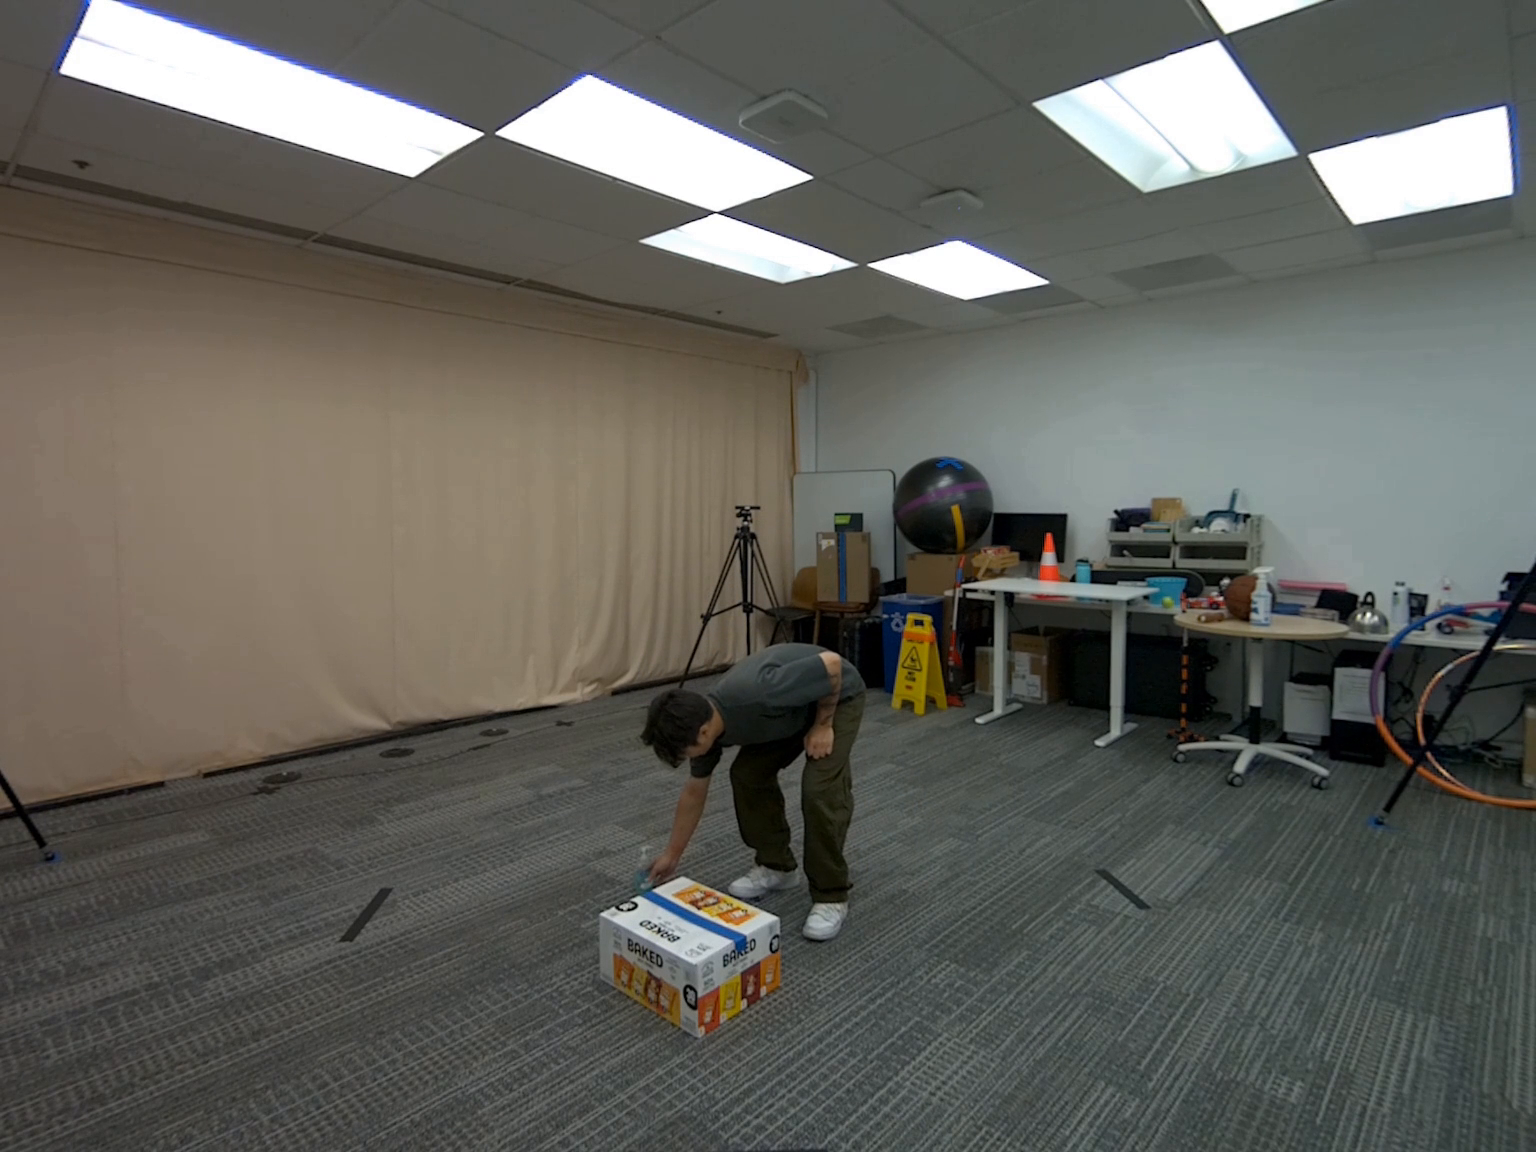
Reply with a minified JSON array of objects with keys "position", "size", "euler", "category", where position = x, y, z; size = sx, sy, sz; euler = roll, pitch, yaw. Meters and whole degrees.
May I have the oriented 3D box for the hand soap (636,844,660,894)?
[{"position":[-0.440,1.066,3.037],"size":[0.083,0.168,0.044],"euler":[0,0,-21],"category":"hand soap"}]
